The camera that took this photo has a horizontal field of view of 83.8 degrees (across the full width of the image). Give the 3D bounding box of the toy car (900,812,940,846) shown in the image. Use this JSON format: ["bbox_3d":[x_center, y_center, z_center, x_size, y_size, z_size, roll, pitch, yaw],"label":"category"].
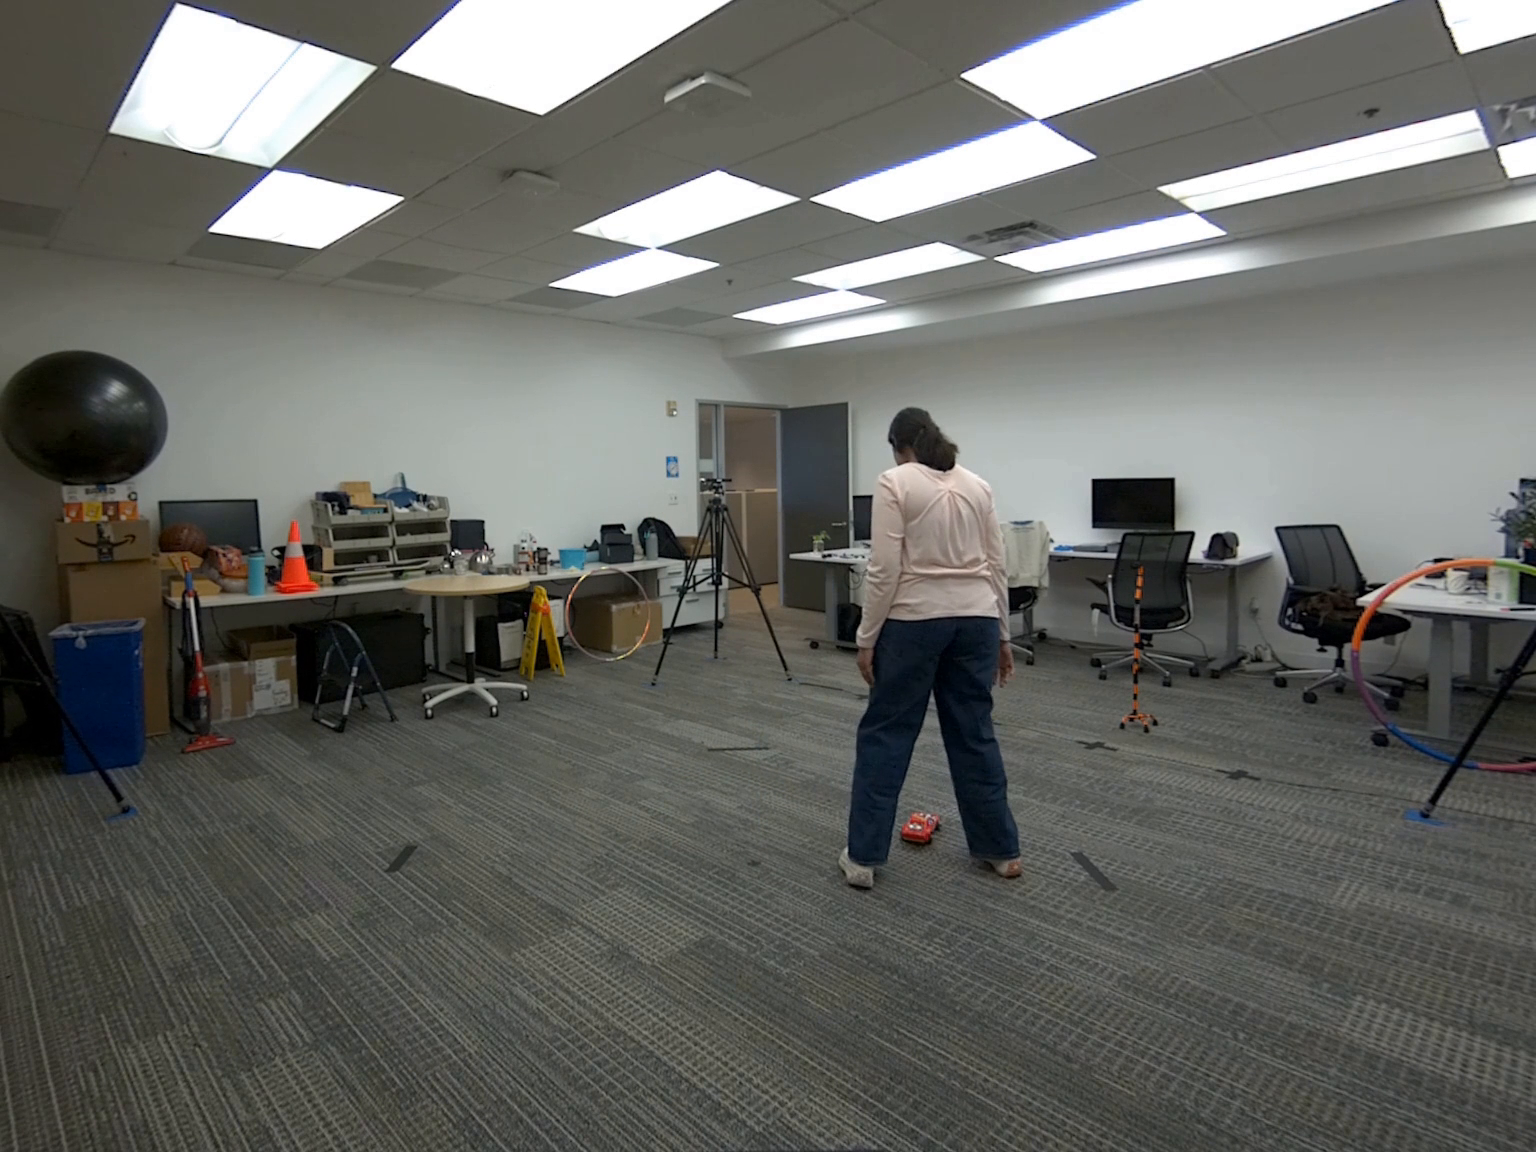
[{"bbox_3d":[0.596,0.980,3.316,0.133,0.083,0.247,2,-5,24],"label":"toy car"}]
